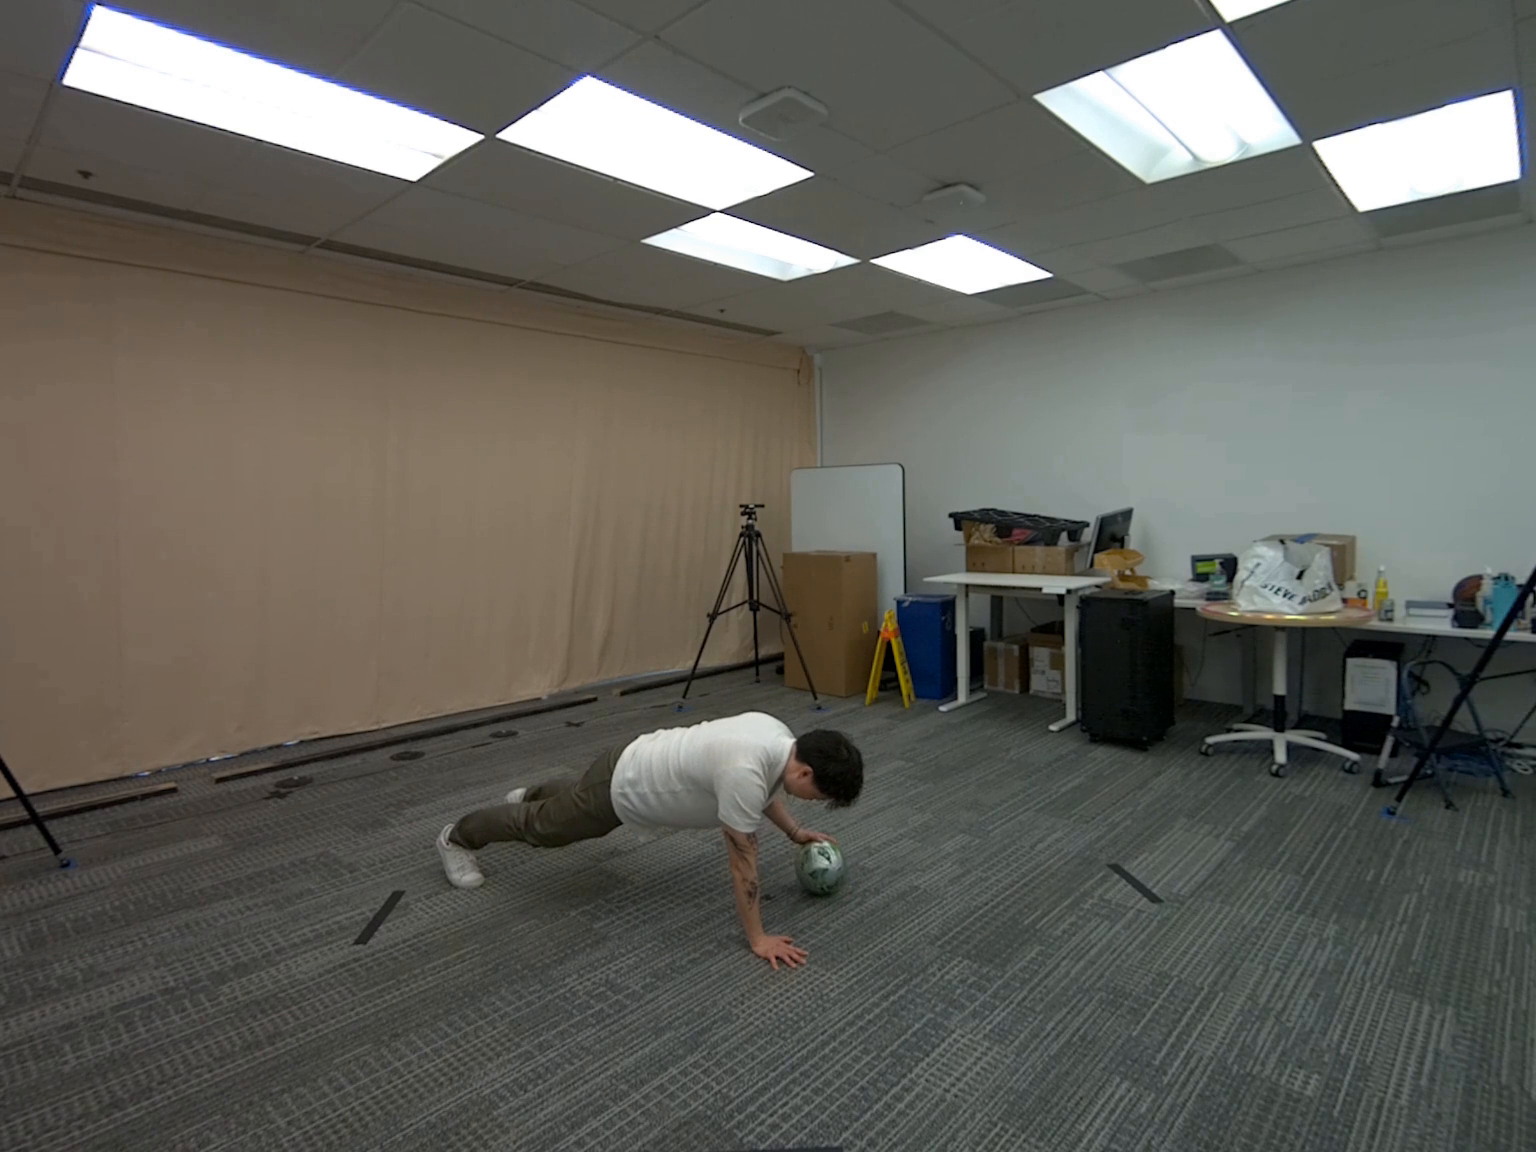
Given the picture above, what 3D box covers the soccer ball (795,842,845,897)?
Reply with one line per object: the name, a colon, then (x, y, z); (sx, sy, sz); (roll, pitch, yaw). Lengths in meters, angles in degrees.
soccer ball: (0.190, 1.045, 2.991); (0.187, 0.187, 0.188); (-1, 4, -2)
